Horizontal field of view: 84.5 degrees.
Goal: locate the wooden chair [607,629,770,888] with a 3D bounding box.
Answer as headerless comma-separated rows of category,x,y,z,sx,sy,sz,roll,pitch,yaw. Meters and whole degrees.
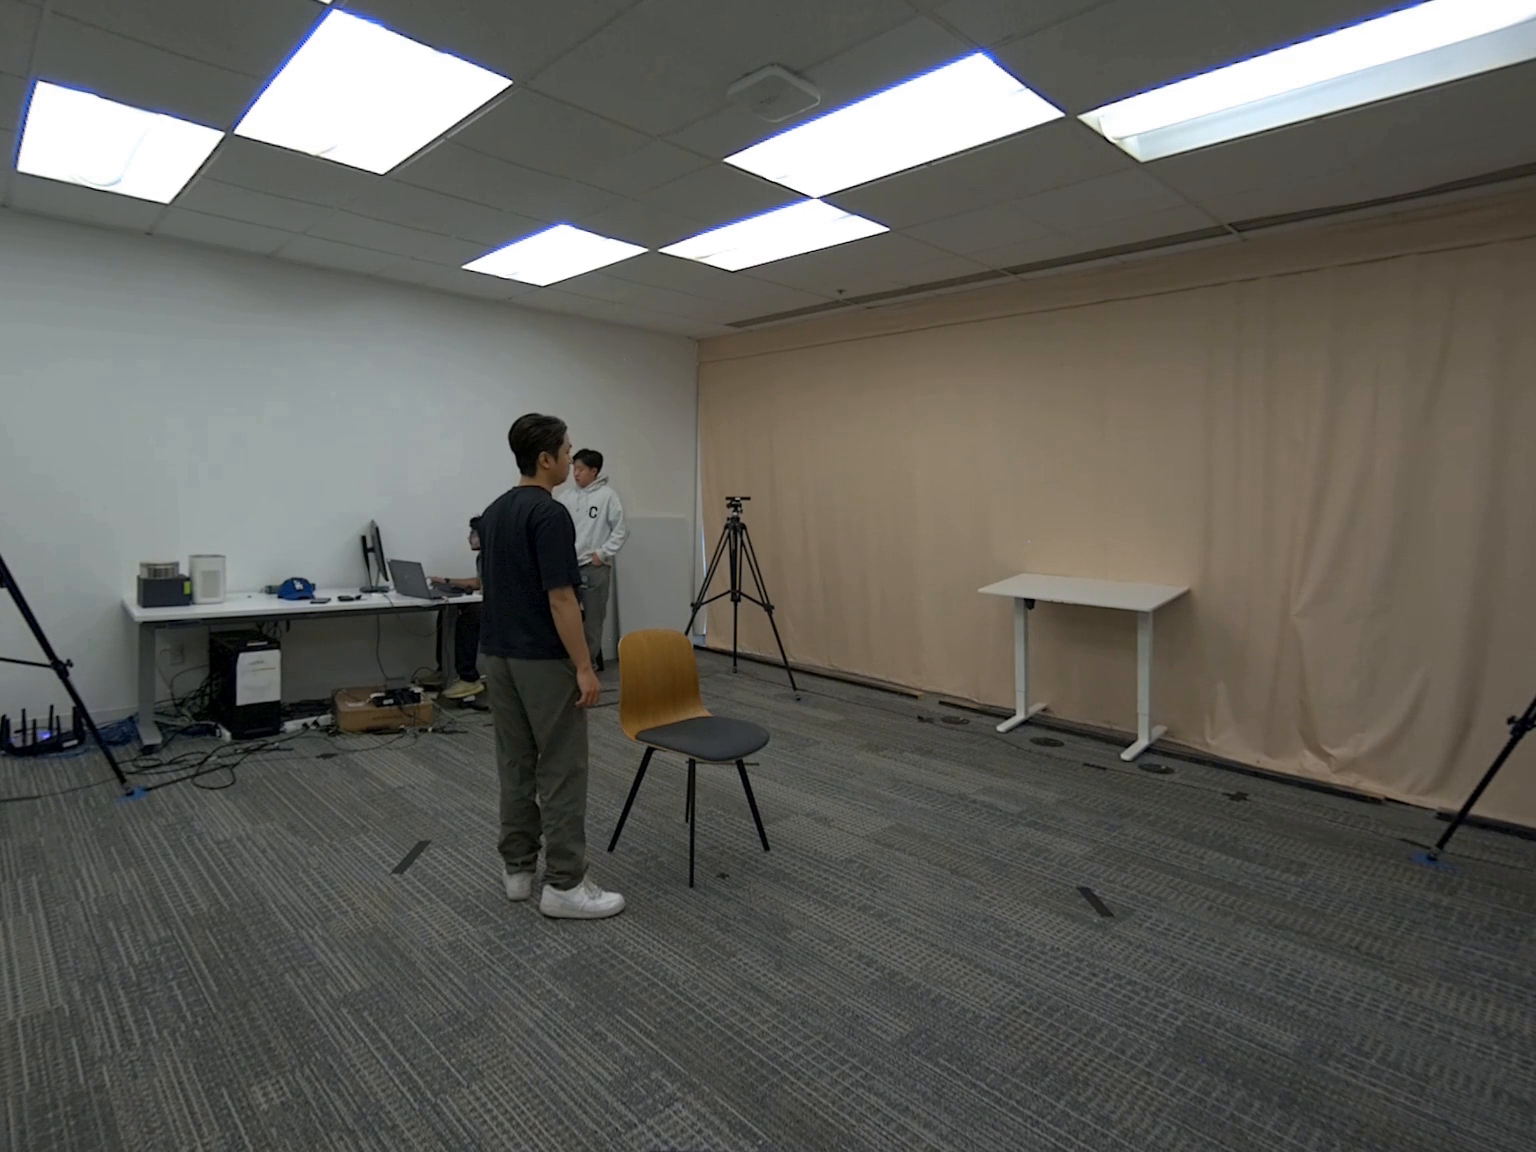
wooden chair,-0.297,0.659,3.280,0.535,0.877,0.467,-1,0,39
